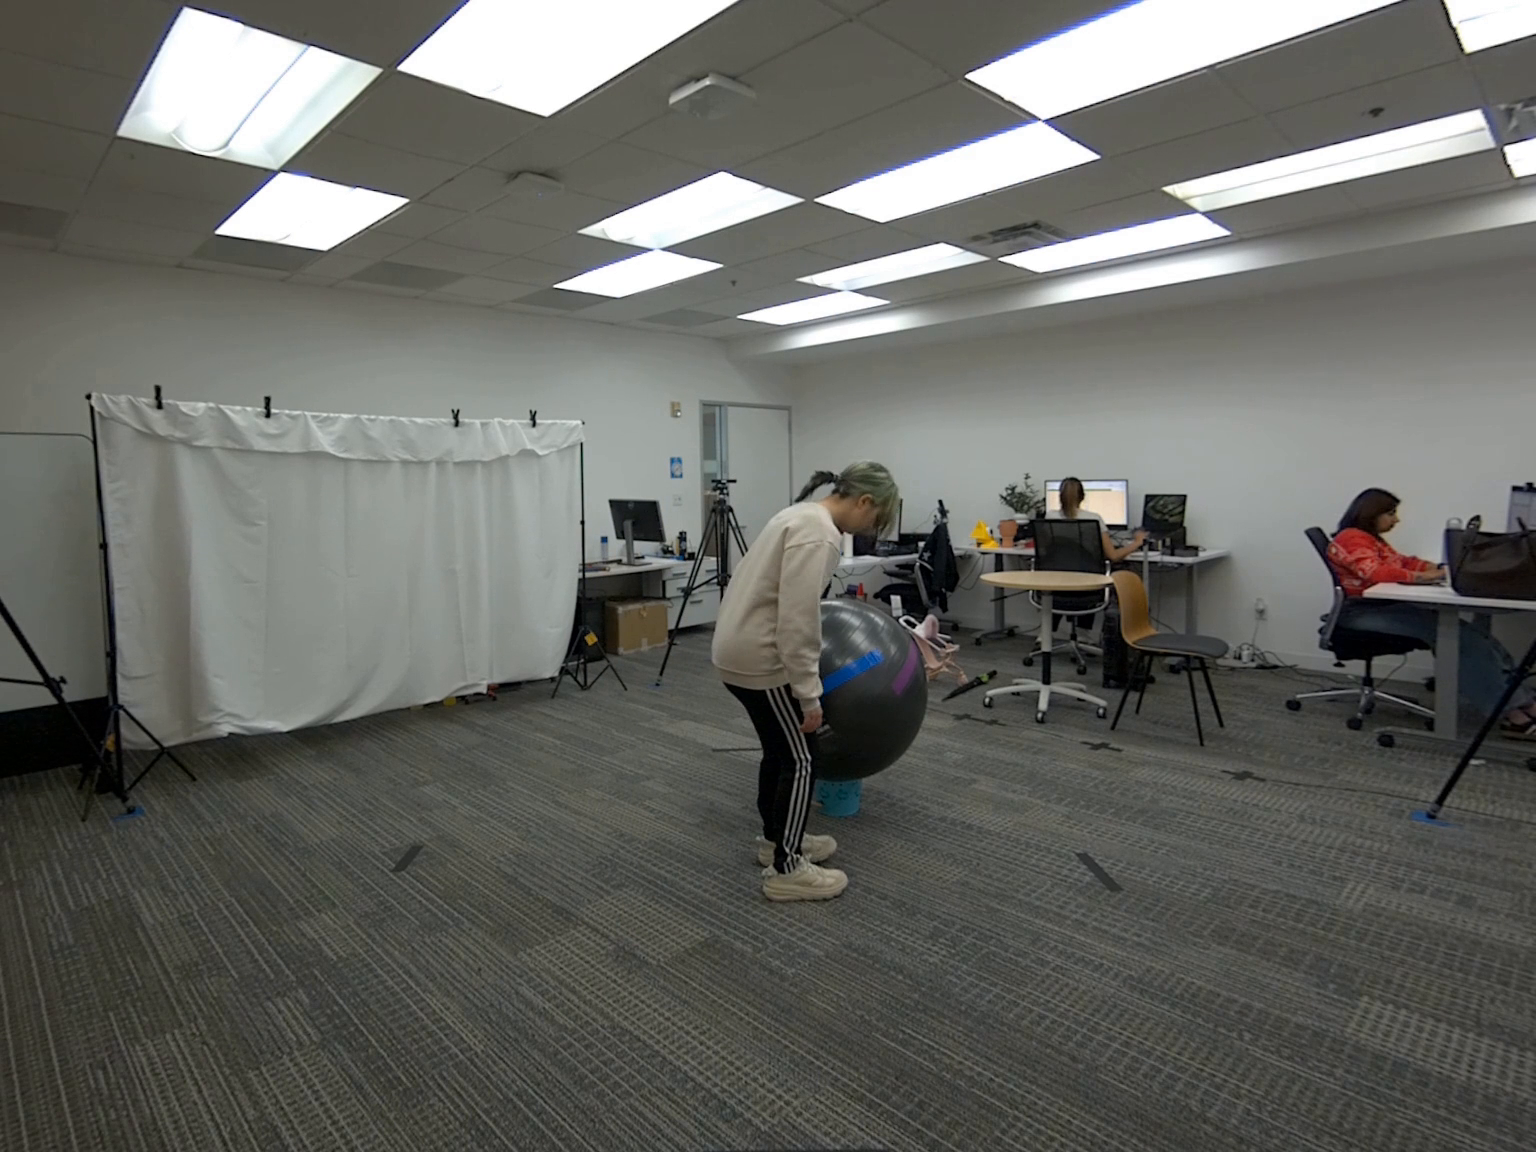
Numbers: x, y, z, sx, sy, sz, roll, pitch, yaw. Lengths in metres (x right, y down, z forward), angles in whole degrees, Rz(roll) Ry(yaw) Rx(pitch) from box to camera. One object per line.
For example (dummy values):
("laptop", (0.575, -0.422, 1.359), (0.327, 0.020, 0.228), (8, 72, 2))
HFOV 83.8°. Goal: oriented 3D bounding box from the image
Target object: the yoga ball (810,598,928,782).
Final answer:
("yoga ball", (0.290, 0.479, 3.601), (0.757, 0.755, 0.762), (-1, 5, -2))
